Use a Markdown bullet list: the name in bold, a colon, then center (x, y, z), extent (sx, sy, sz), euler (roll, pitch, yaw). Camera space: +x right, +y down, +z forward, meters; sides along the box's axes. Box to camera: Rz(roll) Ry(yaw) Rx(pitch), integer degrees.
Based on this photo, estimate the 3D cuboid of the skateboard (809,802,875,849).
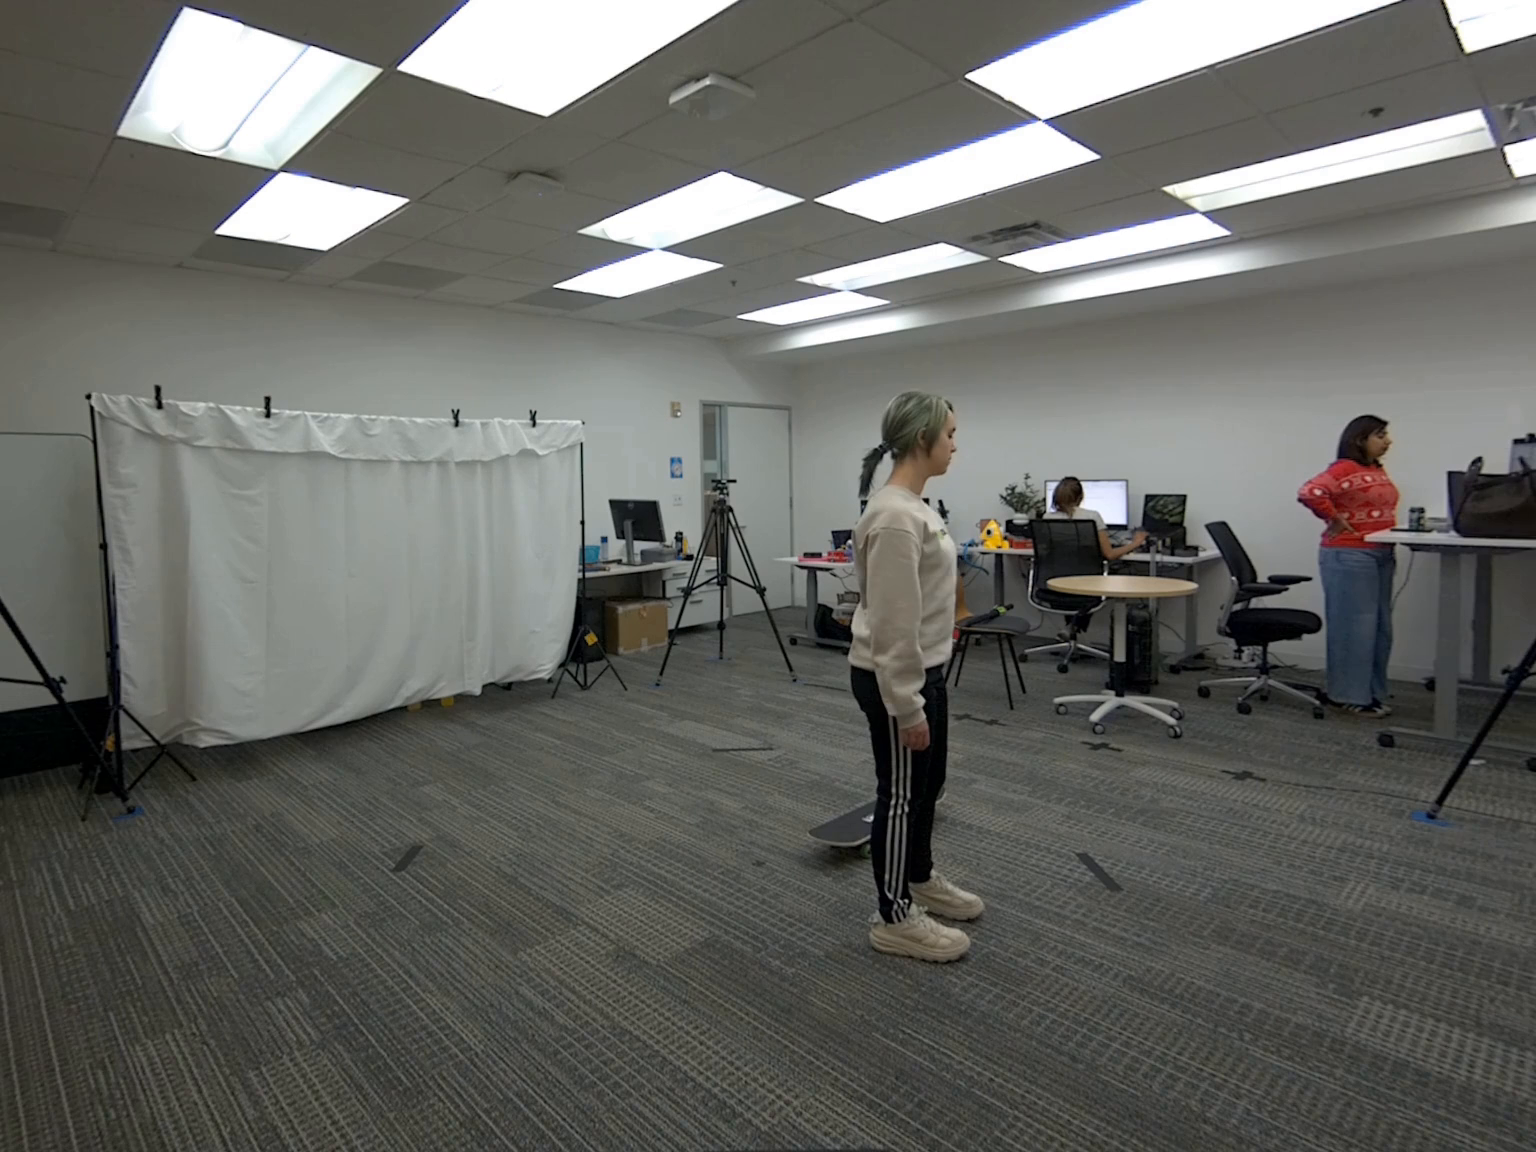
- **skateboard**: center (0.437, 0.953, 3.328), extent (0.199, 0.110, 0.765), euler (2, 7, 43)
